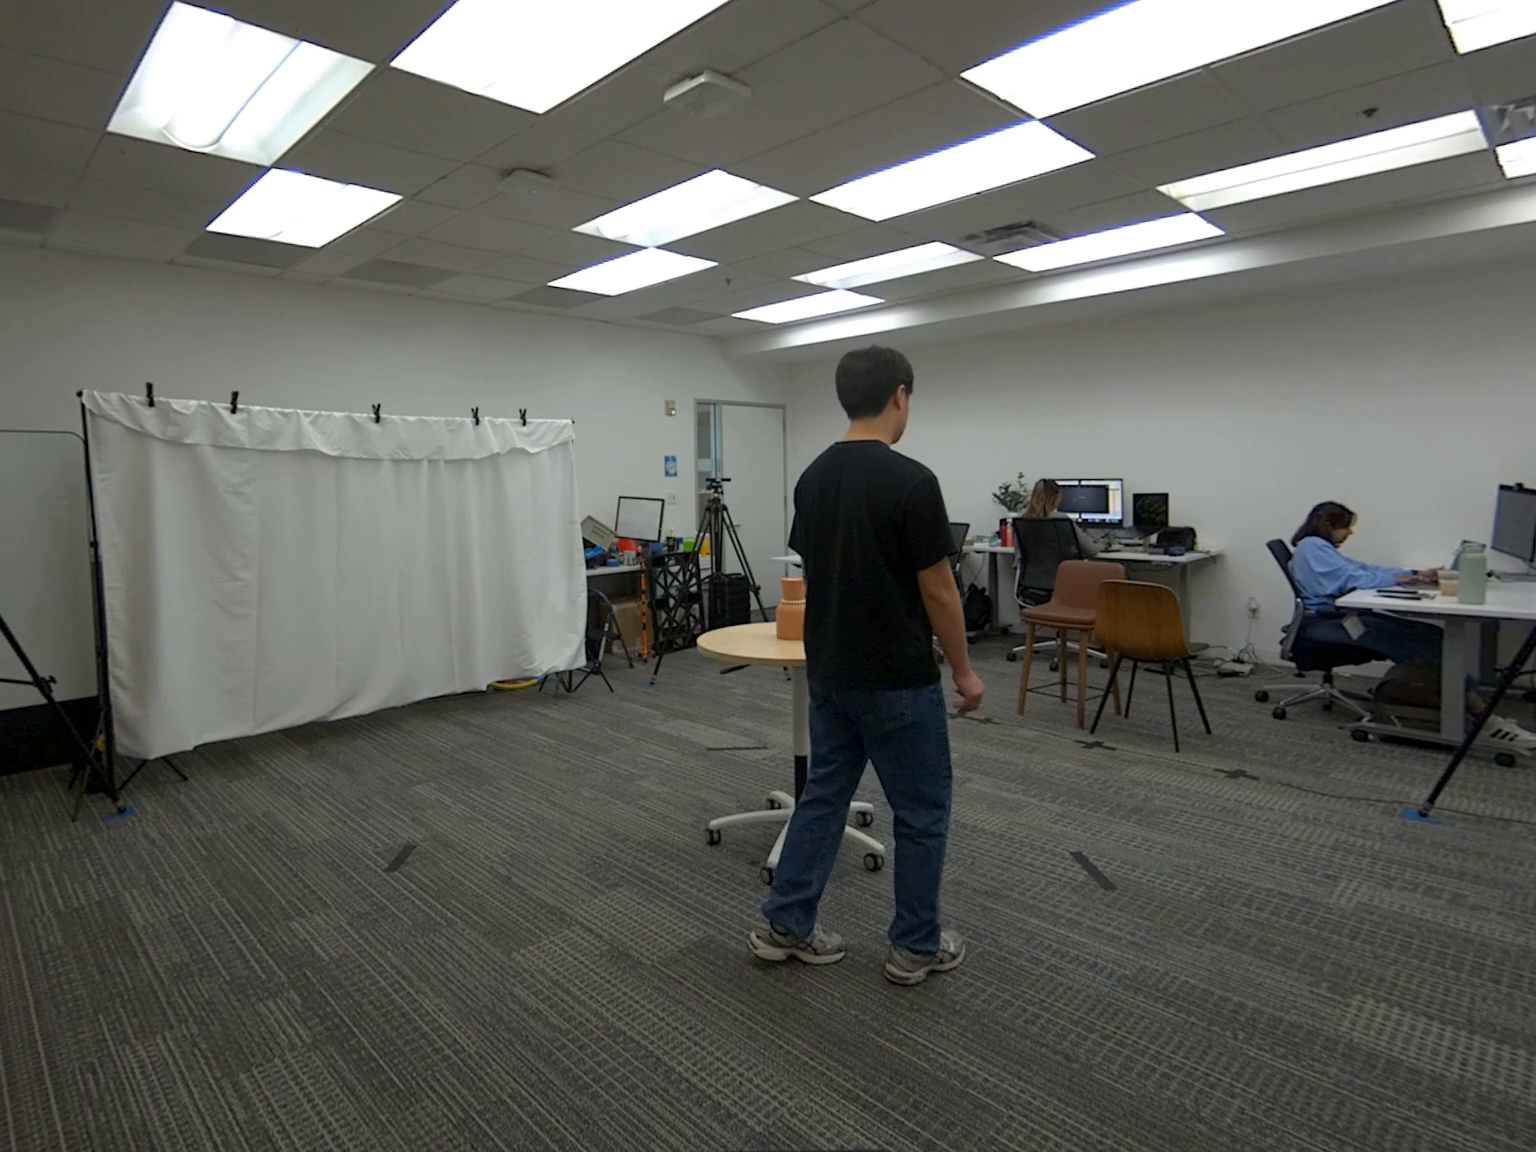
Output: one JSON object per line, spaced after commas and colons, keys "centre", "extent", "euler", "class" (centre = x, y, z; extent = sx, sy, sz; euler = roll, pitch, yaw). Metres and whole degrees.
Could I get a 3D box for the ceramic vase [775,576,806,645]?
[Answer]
{"centre": [0.101, 0.121, 3.207], "extent": [0.161, 0.219, 0.133], "euler": [1, 4, 16], "class": "ceramic vase"}
